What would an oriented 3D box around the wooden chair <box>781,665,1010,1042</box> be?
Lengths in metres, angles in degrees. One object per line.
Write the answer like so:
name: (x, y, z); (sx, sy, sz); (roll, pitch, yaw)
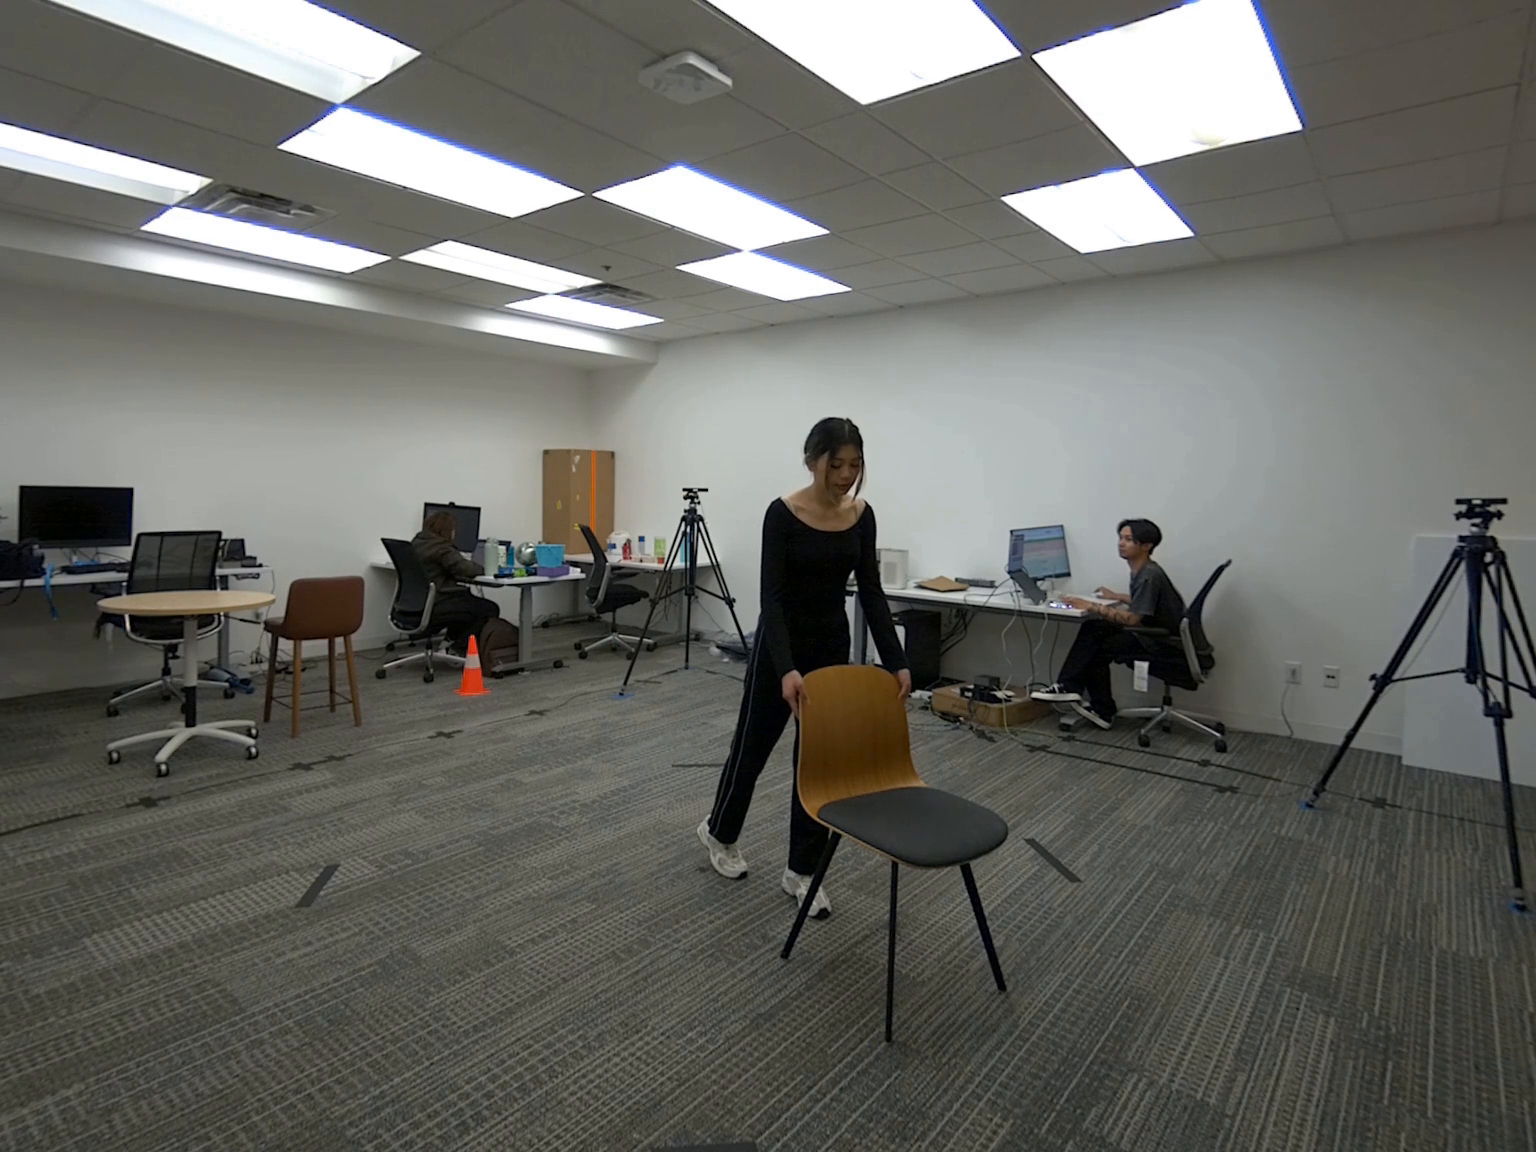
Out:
wooden chair: (0.367, 0.721, 2.422); (0.464, 0.878, 0.538); (0, 0, -34)
